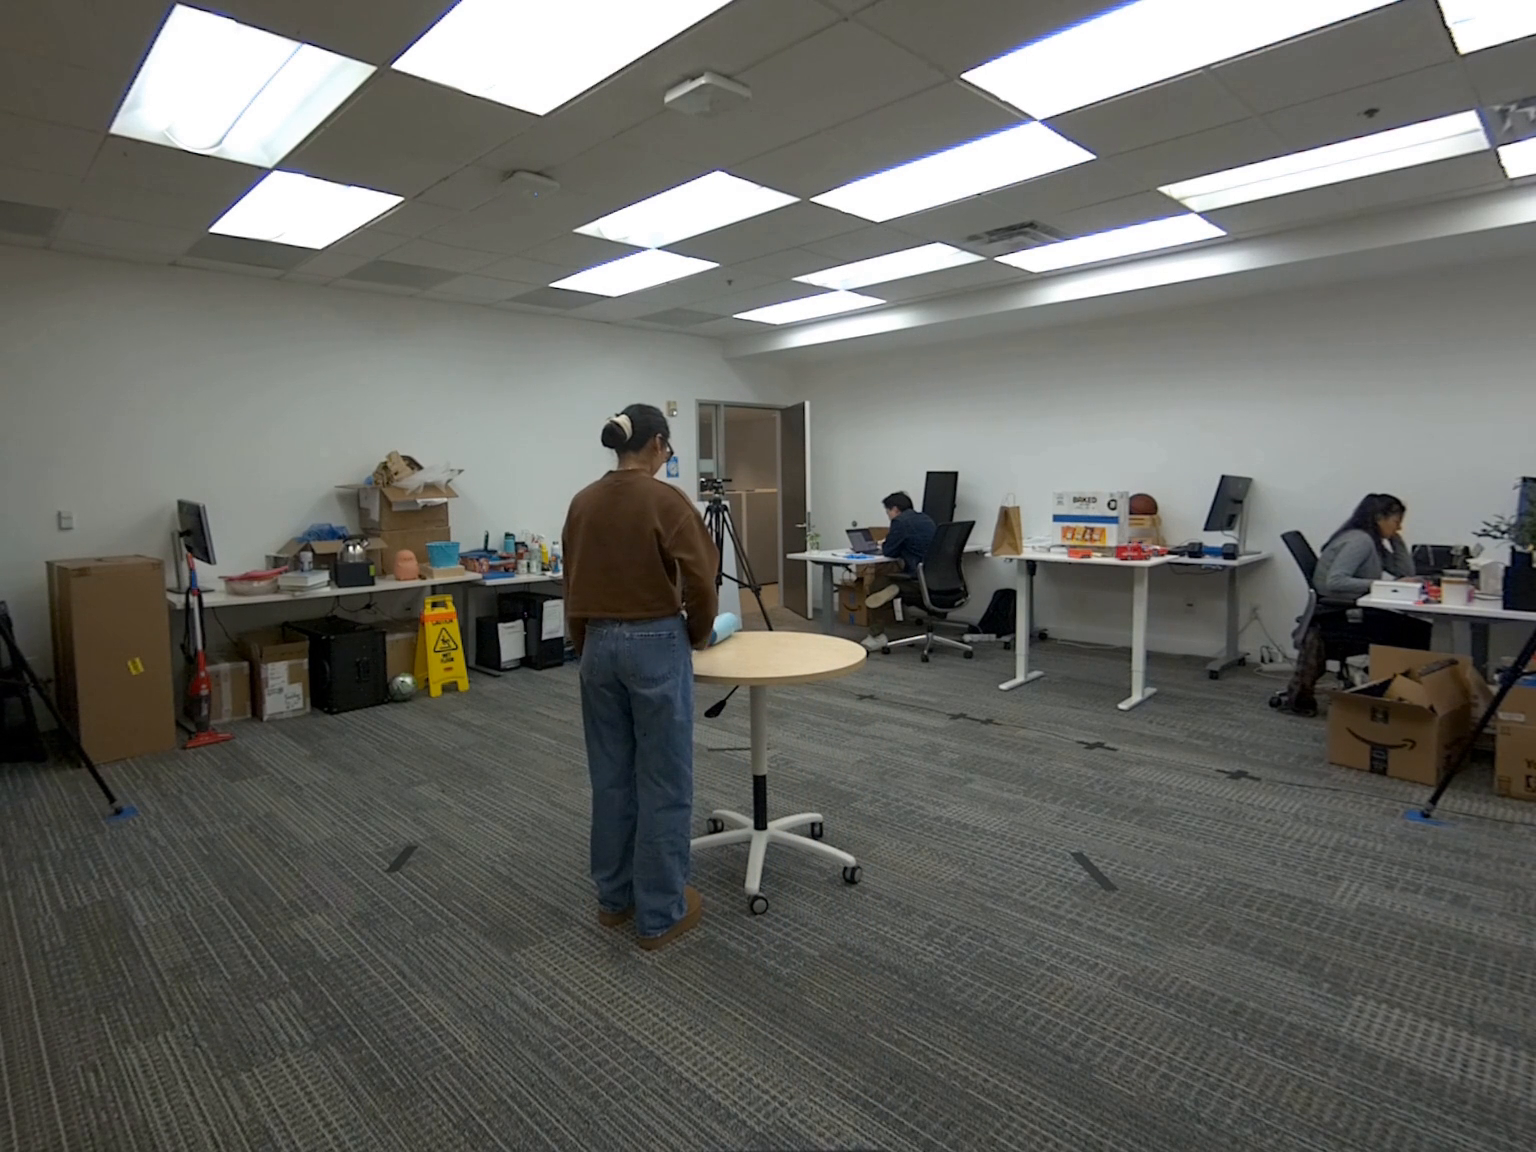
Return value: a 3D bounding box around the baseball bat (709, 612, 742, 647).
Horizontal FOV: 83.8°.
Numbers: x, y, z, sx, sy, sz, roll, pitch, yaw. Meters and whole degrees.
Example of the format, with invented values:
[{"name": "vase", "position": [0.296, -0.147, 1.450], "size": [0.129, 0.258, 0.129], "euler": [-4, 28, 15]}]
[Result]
[{"name": "baseball bat", "position": [-0.221, 0.231, 3.118], "size": [0.090, 0.088, 0.539], "euler": [0, 10, 15]}]
